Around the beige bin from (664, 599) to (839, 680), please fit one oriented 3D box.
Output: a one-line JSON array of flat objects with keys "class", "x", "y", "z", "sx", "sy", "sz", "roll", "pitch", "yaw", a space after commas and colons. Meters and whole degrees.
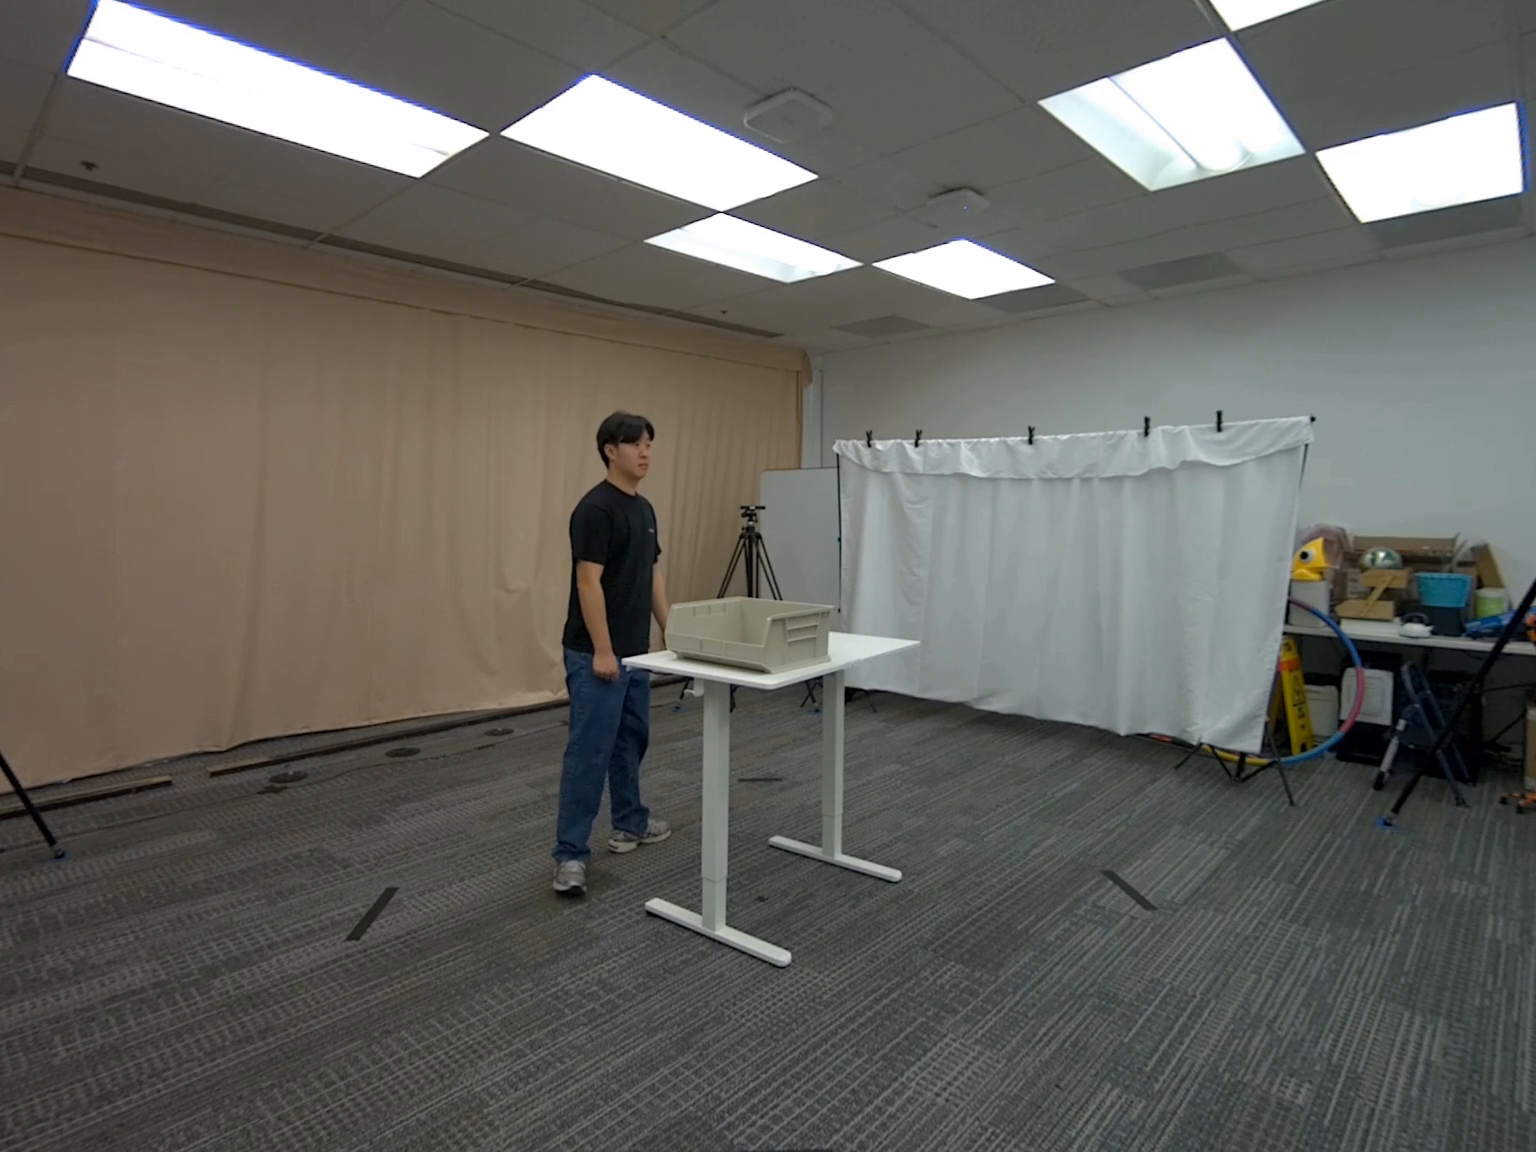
[{"class": "beige bin", "x": -0.057, "y": 0.192, "z": 2.765, "sx": 0.436, "sy": 0.189, "sz": 0.365, "roll": 3, "pitch": 4, "yaw": 40}]
